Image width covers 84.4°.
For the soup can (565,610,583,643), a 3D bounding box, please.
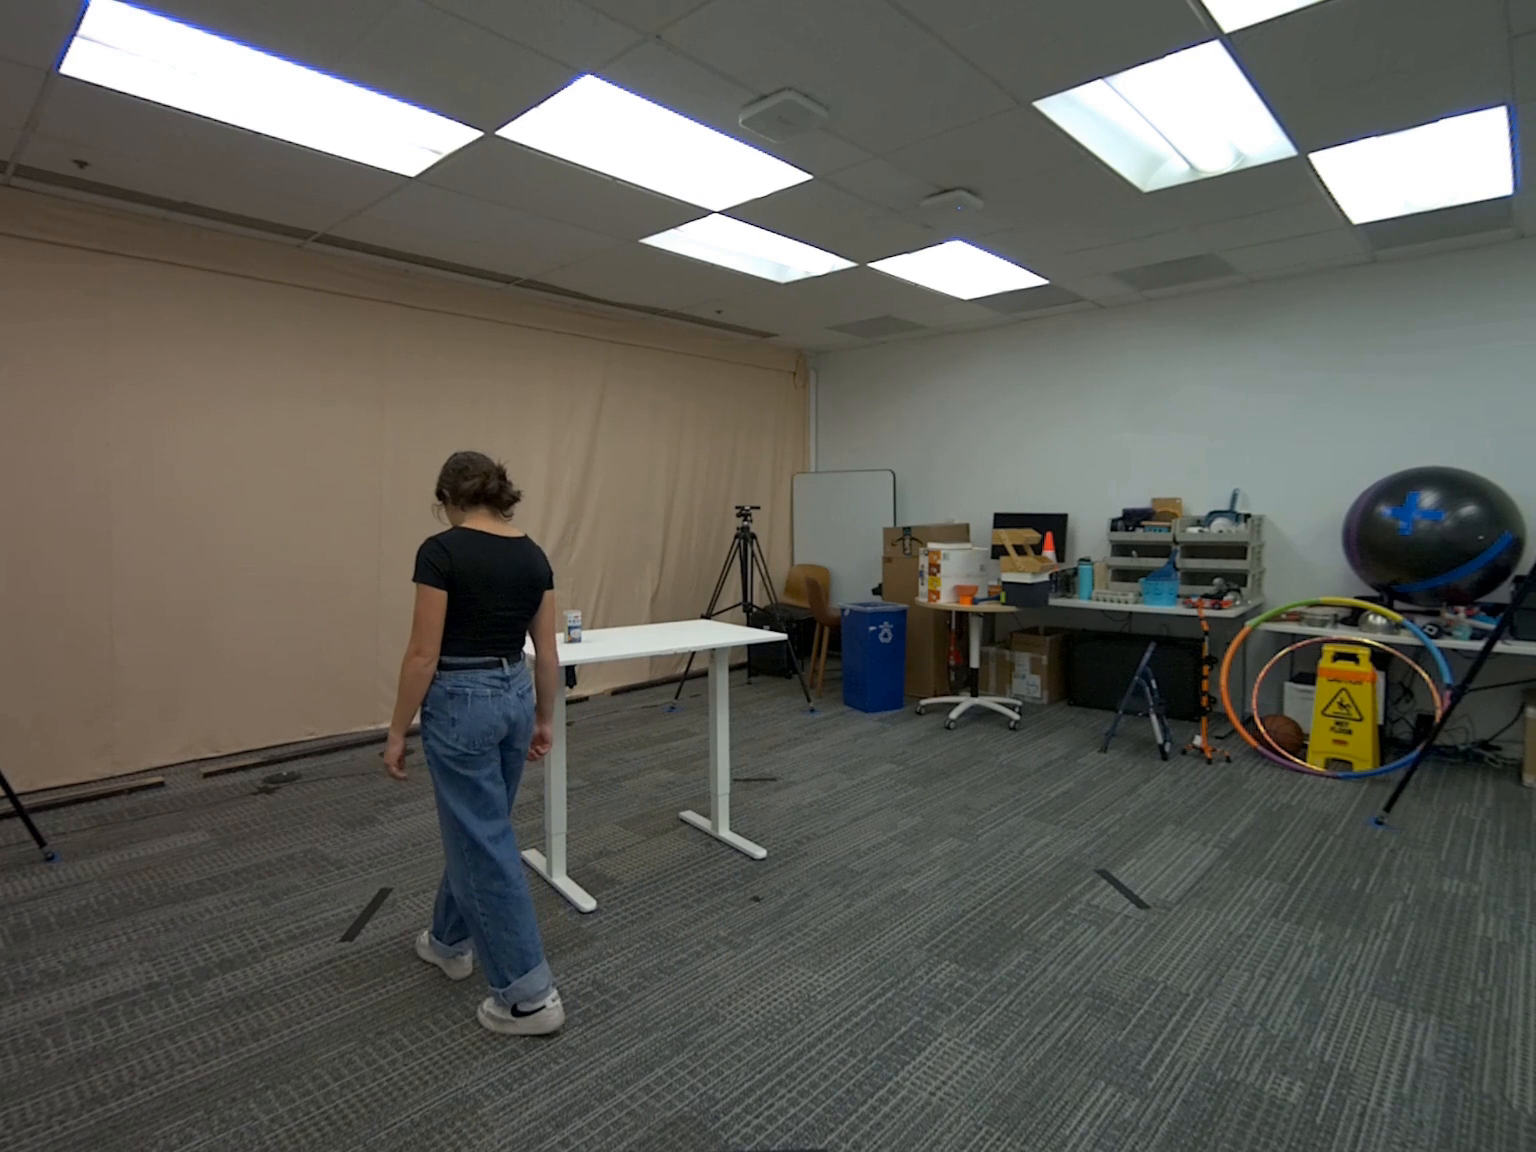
[{"bbox_3d":[-0.740,0.193,3.180,0.067,0.121,0.067,3,1,-2],"label":"soup can"}]
